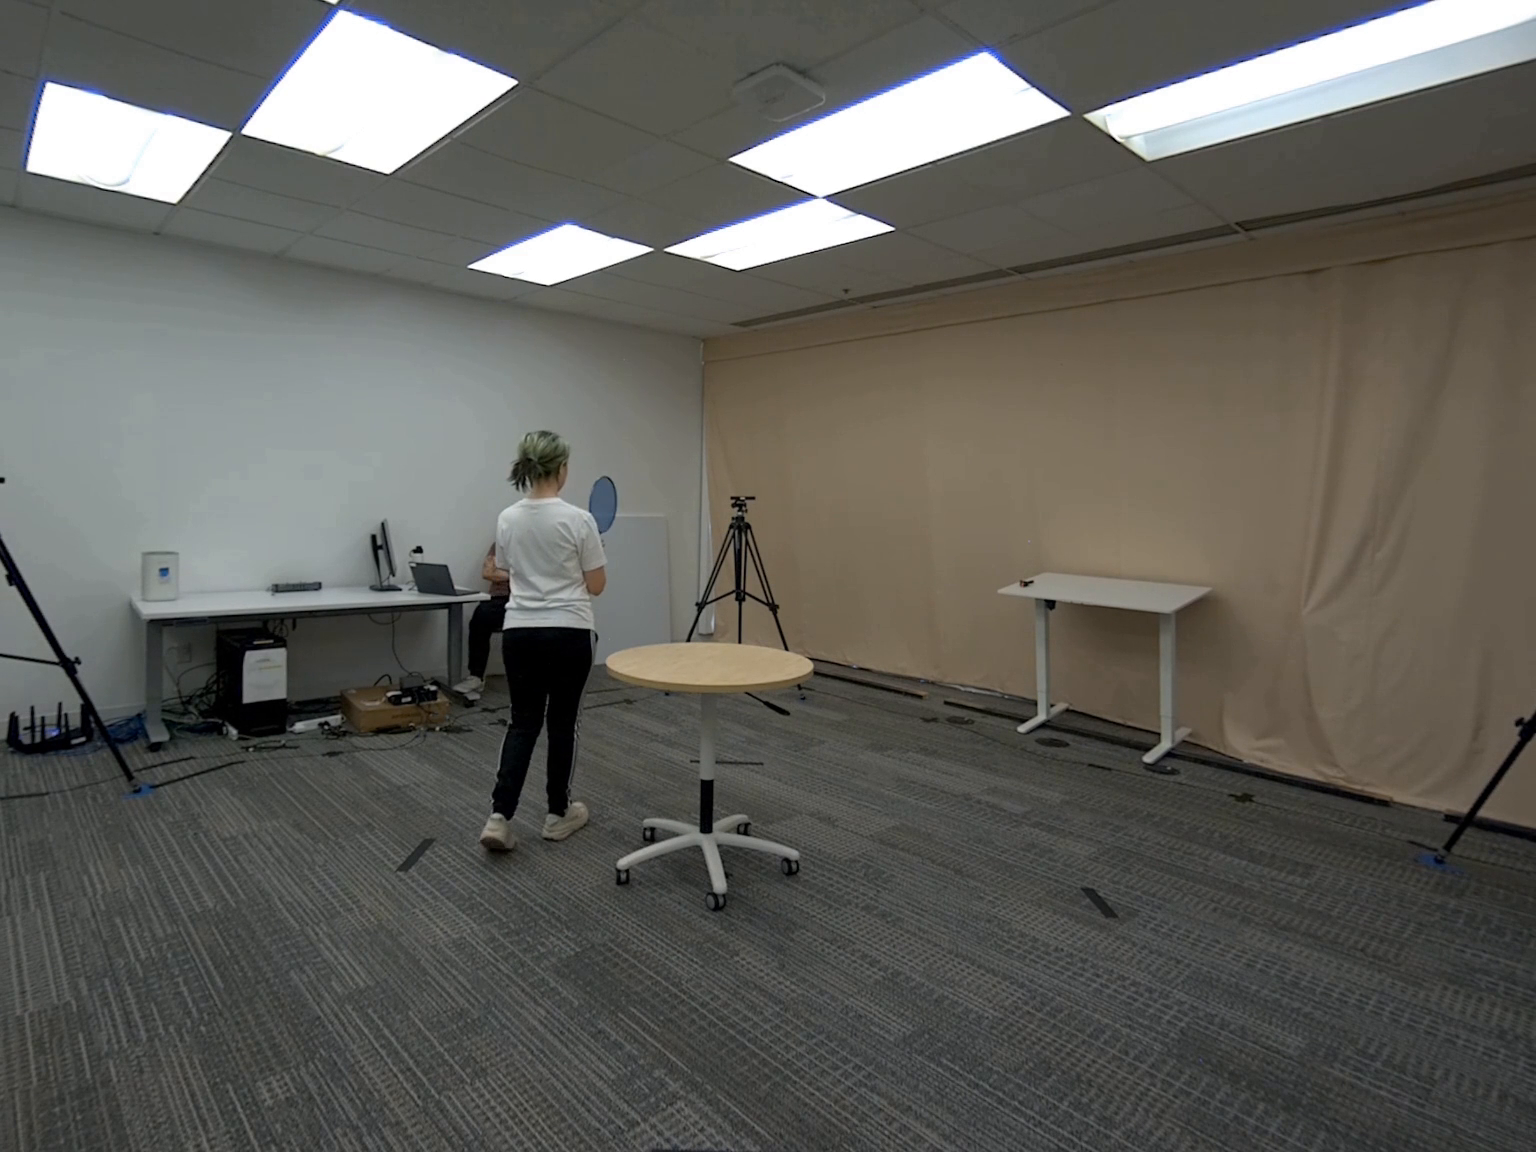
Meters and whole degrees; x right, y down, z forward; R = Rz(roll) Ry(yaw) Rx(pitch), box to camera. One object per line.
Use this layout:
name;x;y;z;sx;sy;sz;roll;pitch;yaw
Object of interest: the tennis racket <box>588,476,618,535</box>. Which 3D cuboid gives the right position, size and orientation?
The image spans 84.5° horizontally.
tennis racket;-0.761;-0.253;3.676;0.032;0.439;0.207;-3;-41;23
